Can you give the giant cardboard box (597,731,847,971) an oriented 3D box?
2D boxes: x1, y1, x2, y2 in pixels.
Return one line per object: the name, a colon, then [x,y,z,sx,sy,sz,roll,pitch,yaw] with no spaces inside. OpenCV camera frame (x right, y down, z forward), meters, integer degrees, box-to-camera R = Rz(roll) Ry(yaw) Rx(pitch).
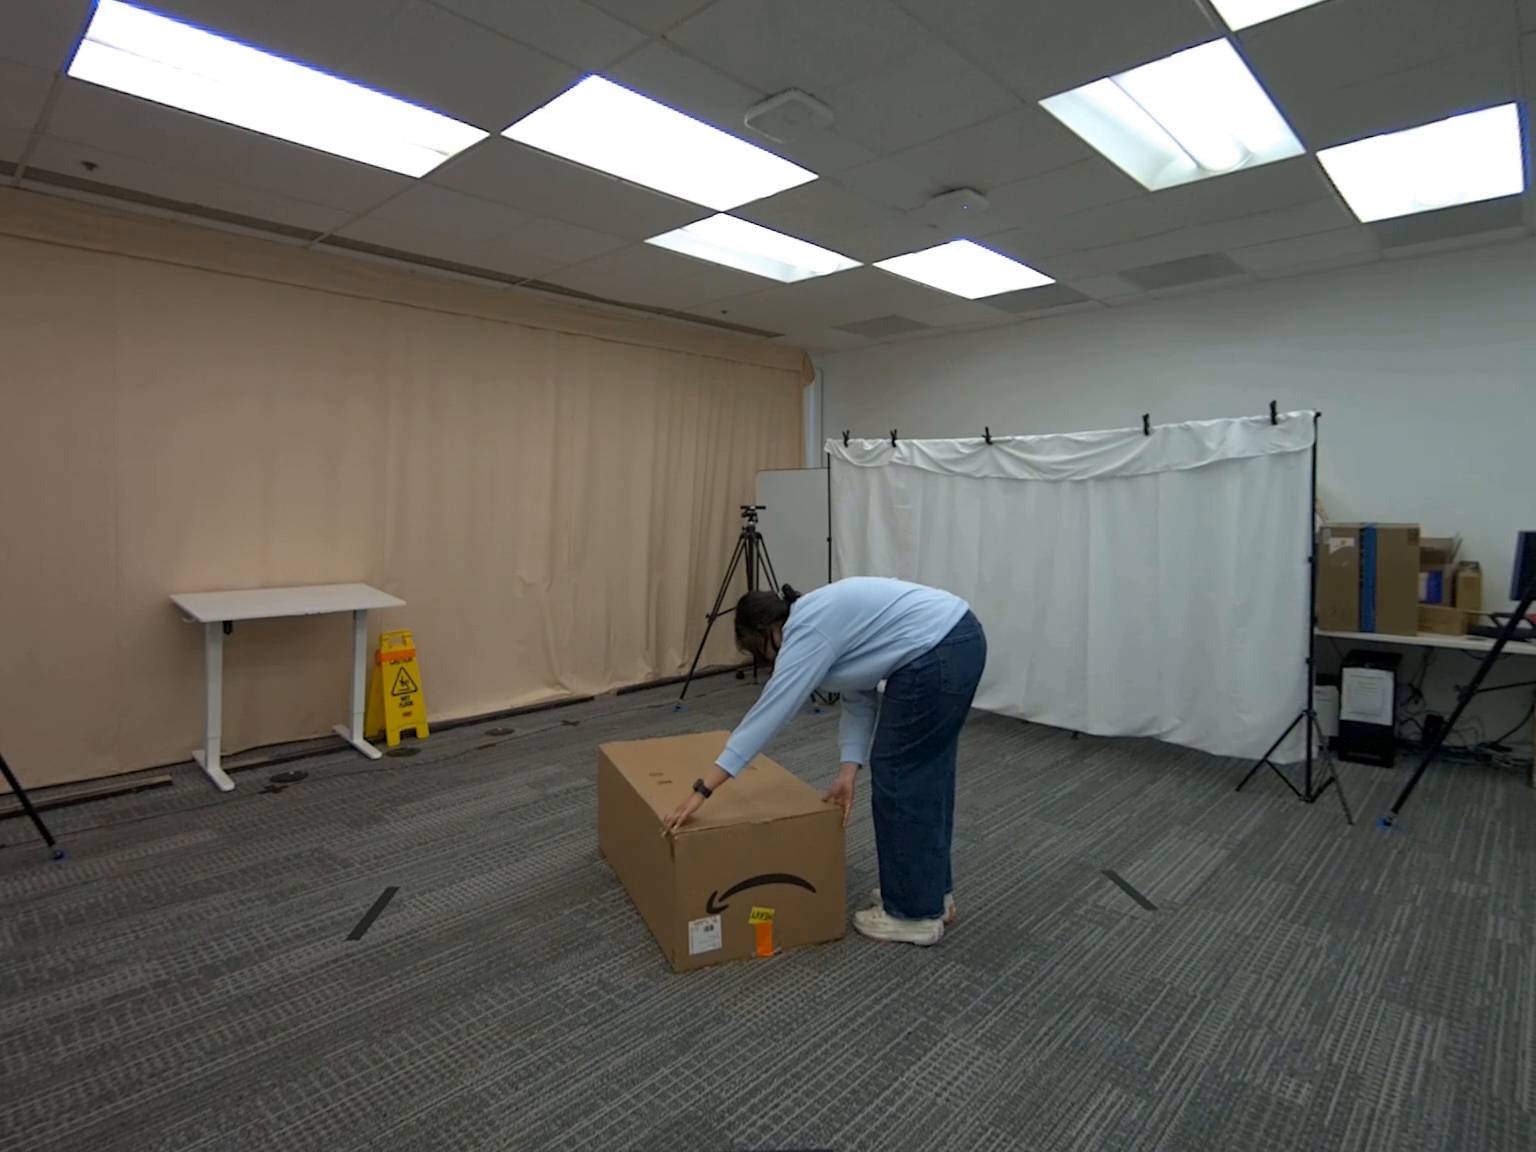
giant cardboard box: [-0.226,0.925,3.069,0.565,0.425,1.050,-2,5,-23]
